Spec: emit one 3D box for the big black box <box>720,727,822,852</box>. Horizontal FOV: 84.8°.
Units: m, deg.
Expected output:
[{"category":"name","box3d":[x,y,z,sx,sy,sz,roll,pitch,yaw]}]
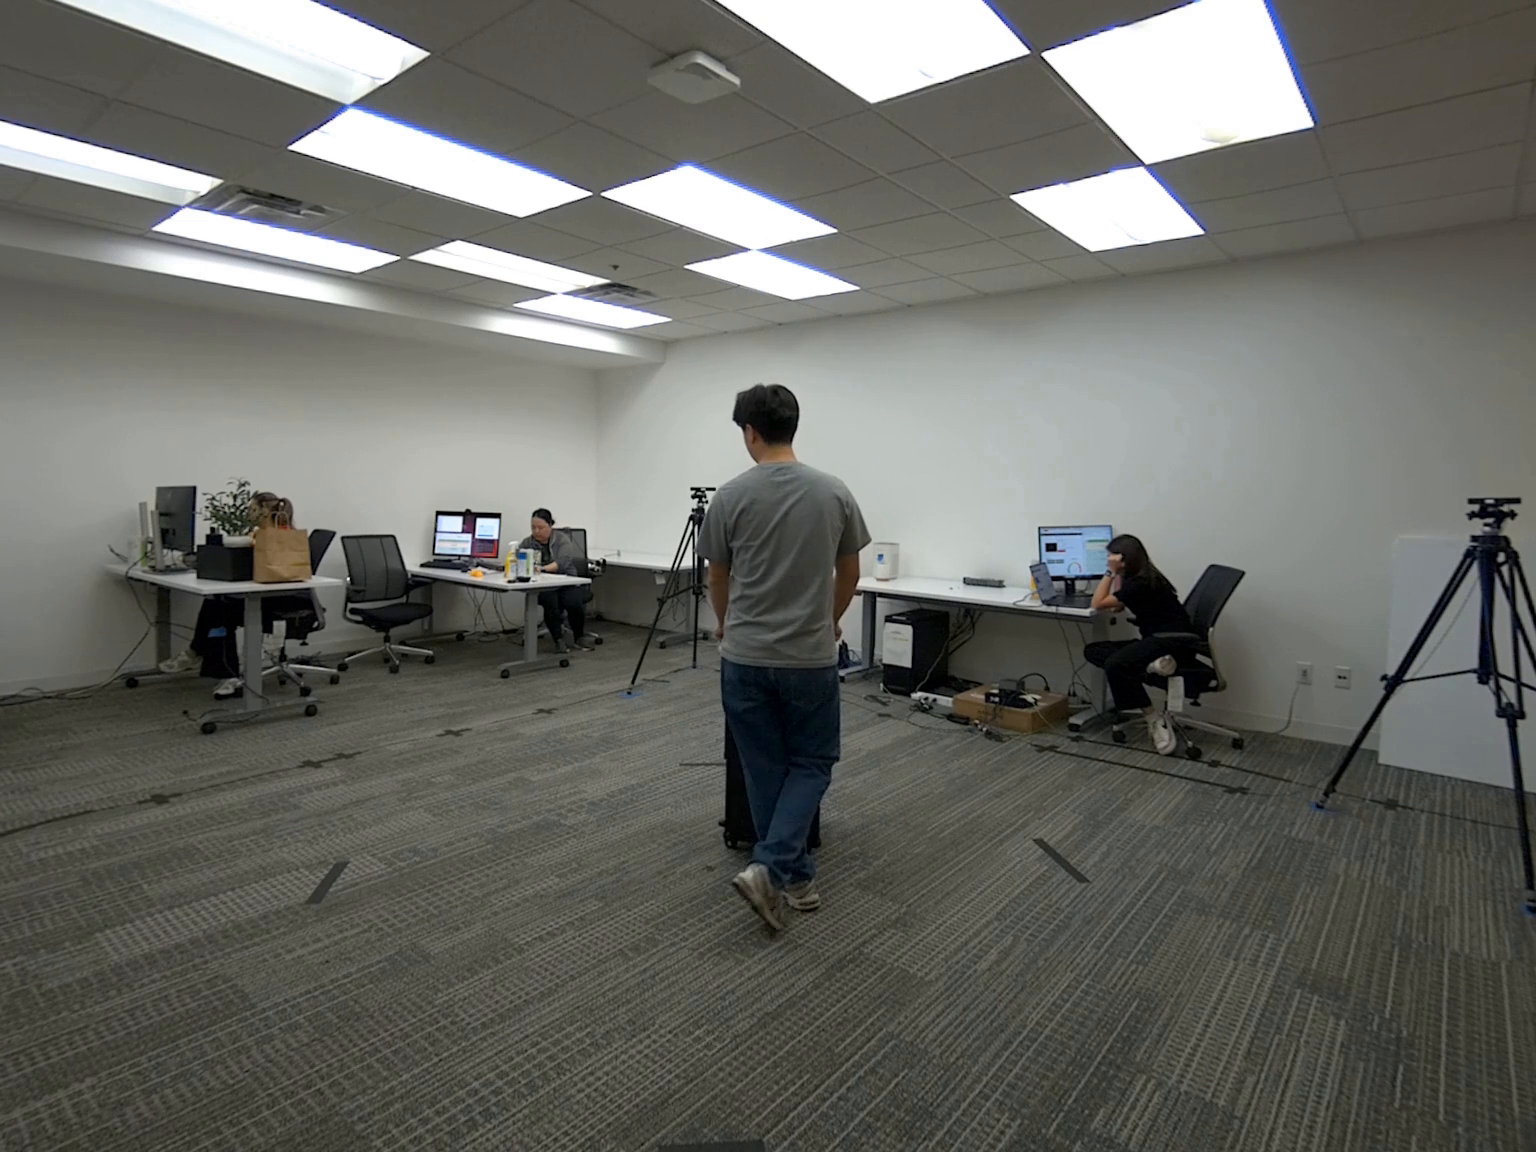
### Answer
[{"category":"big black box","box3d":[0.017,0.618,3.375,0.399,0.859,0.519,1,4,6]}]
